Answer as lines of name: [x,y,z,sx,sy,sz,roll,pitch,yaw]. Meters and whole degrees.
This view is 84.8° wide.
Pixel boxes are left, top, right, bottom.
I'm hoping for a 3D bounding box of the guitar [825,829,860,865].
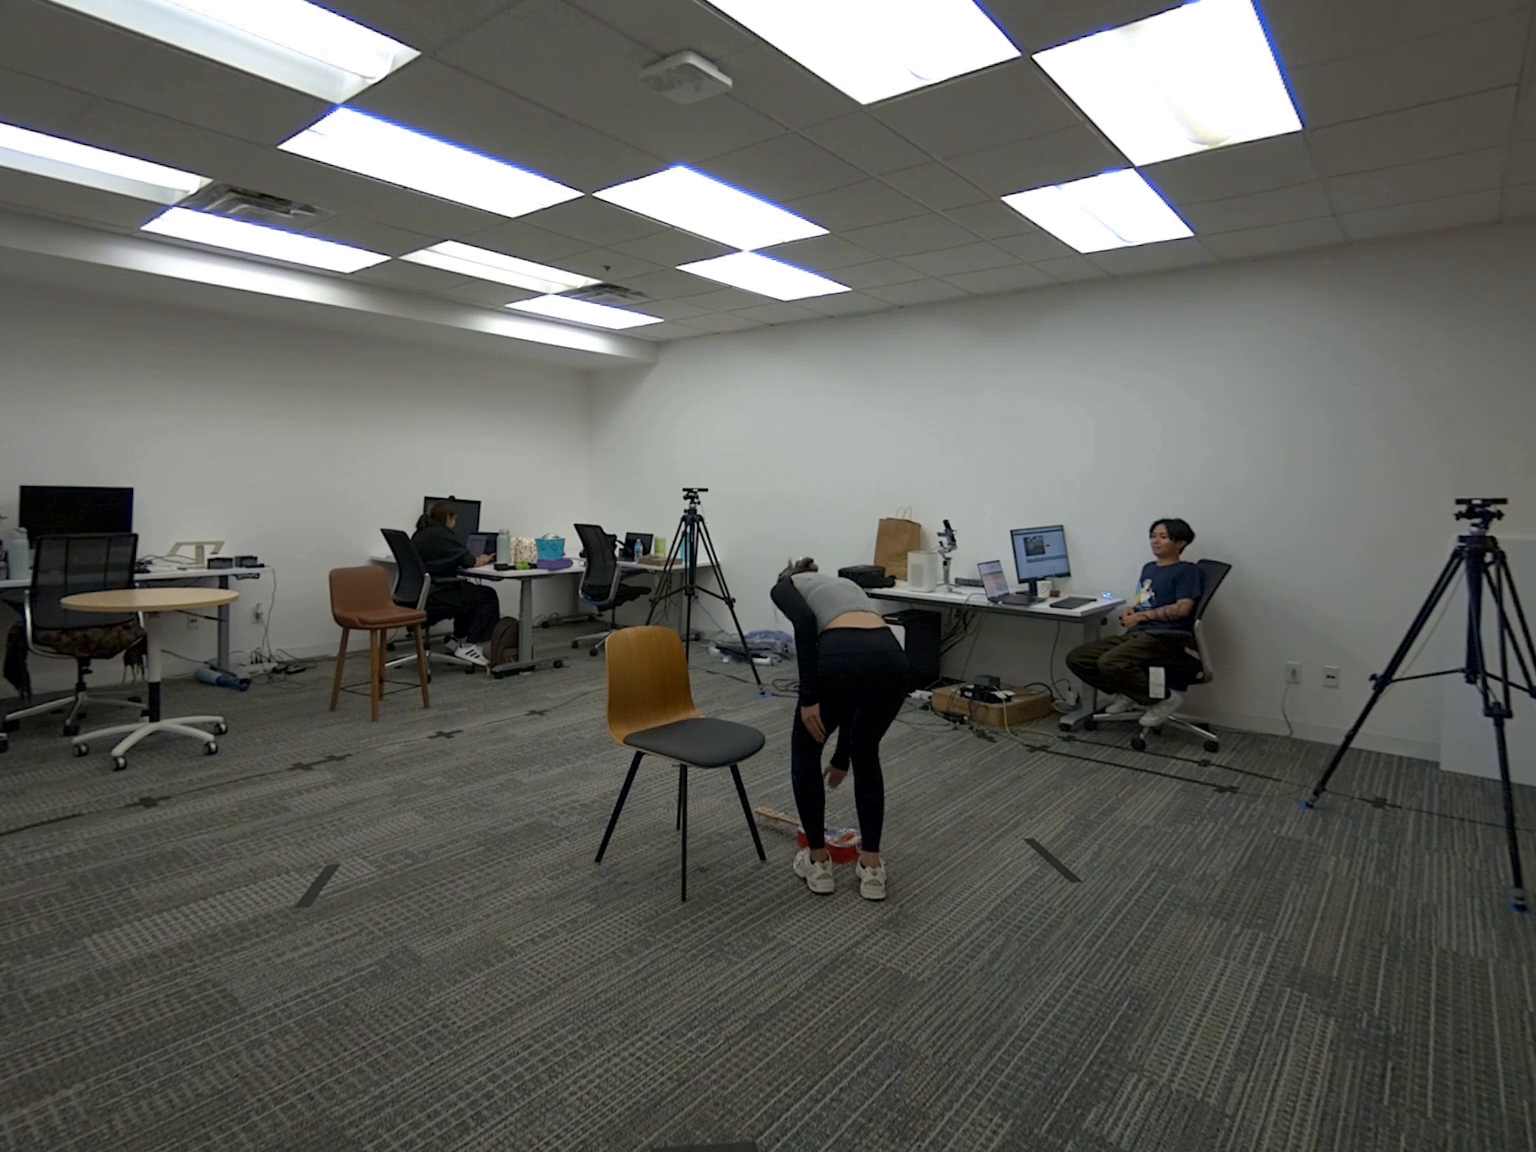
guitar: [0.163,1.012,3.411,0.187,0.070,0.515,-4,8,-44]
